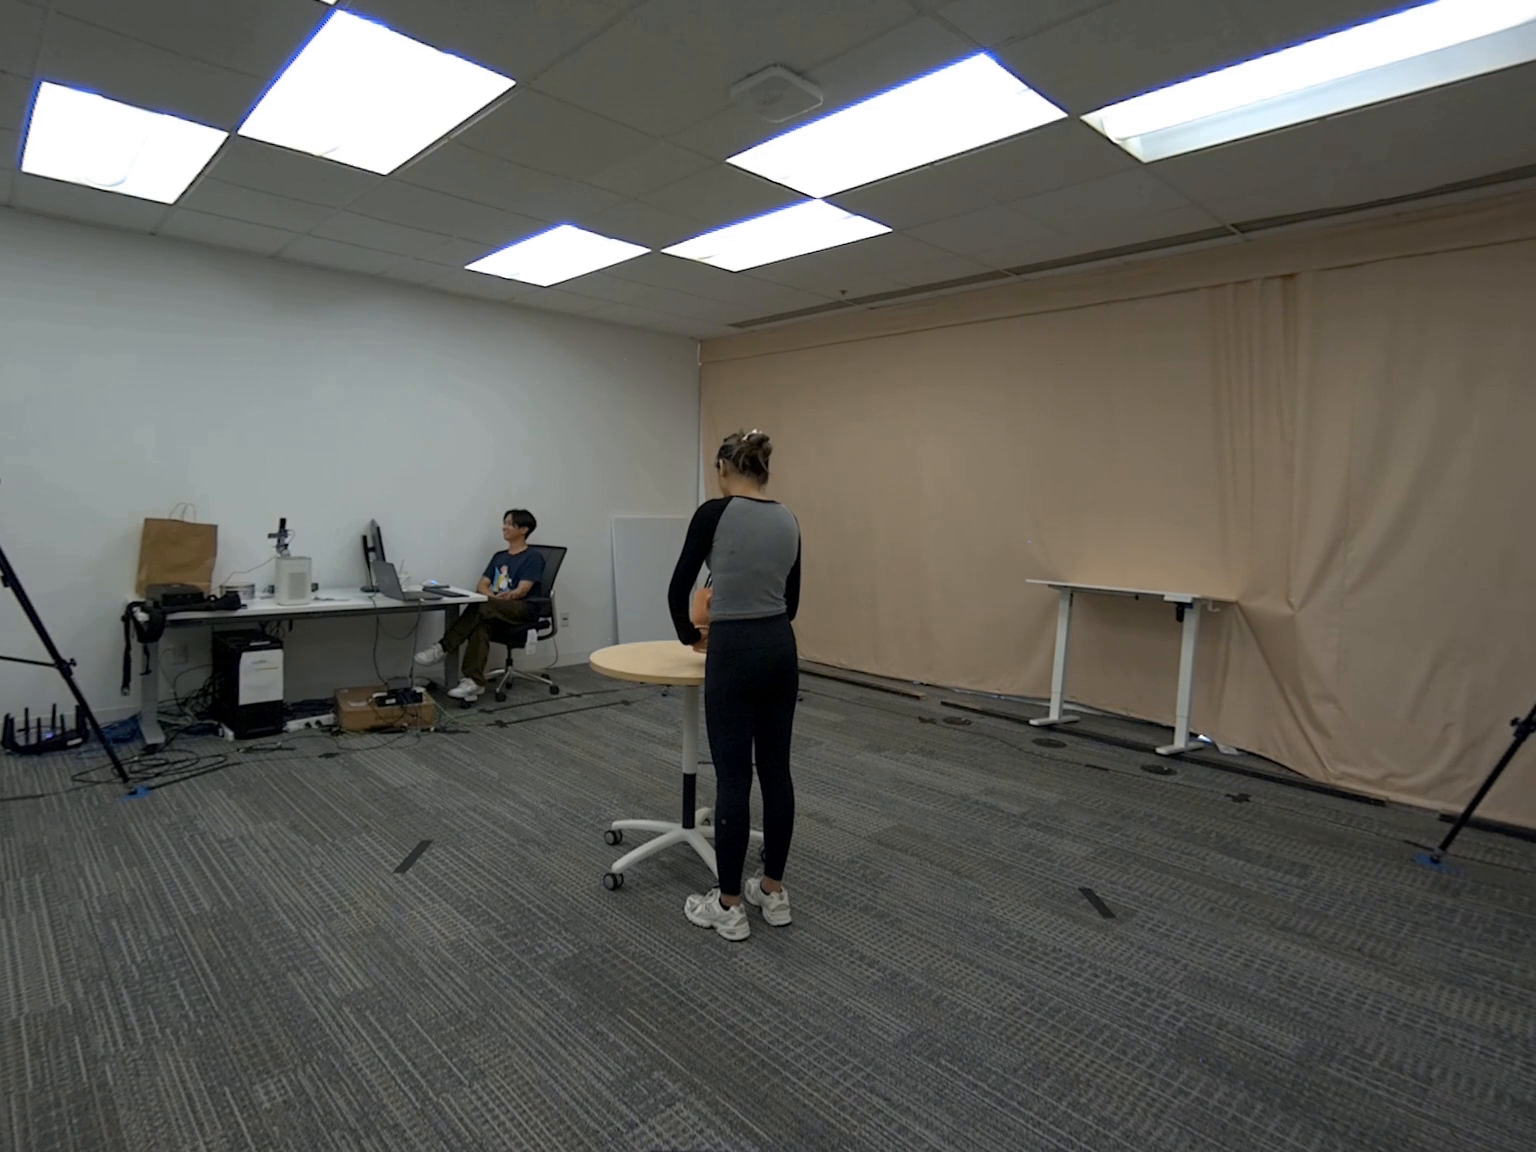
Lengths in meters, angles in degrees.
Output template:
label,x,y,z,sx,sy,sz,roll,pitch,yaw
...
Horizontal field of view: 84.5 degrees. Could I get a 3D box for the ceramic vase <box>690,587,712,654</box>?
label,x,y,z,sx,sy,sz,roll,pitch,yaw
ceramic vase,-0.222,0.166,3.062,0.137,0.222,0.154,-6,-16,38
